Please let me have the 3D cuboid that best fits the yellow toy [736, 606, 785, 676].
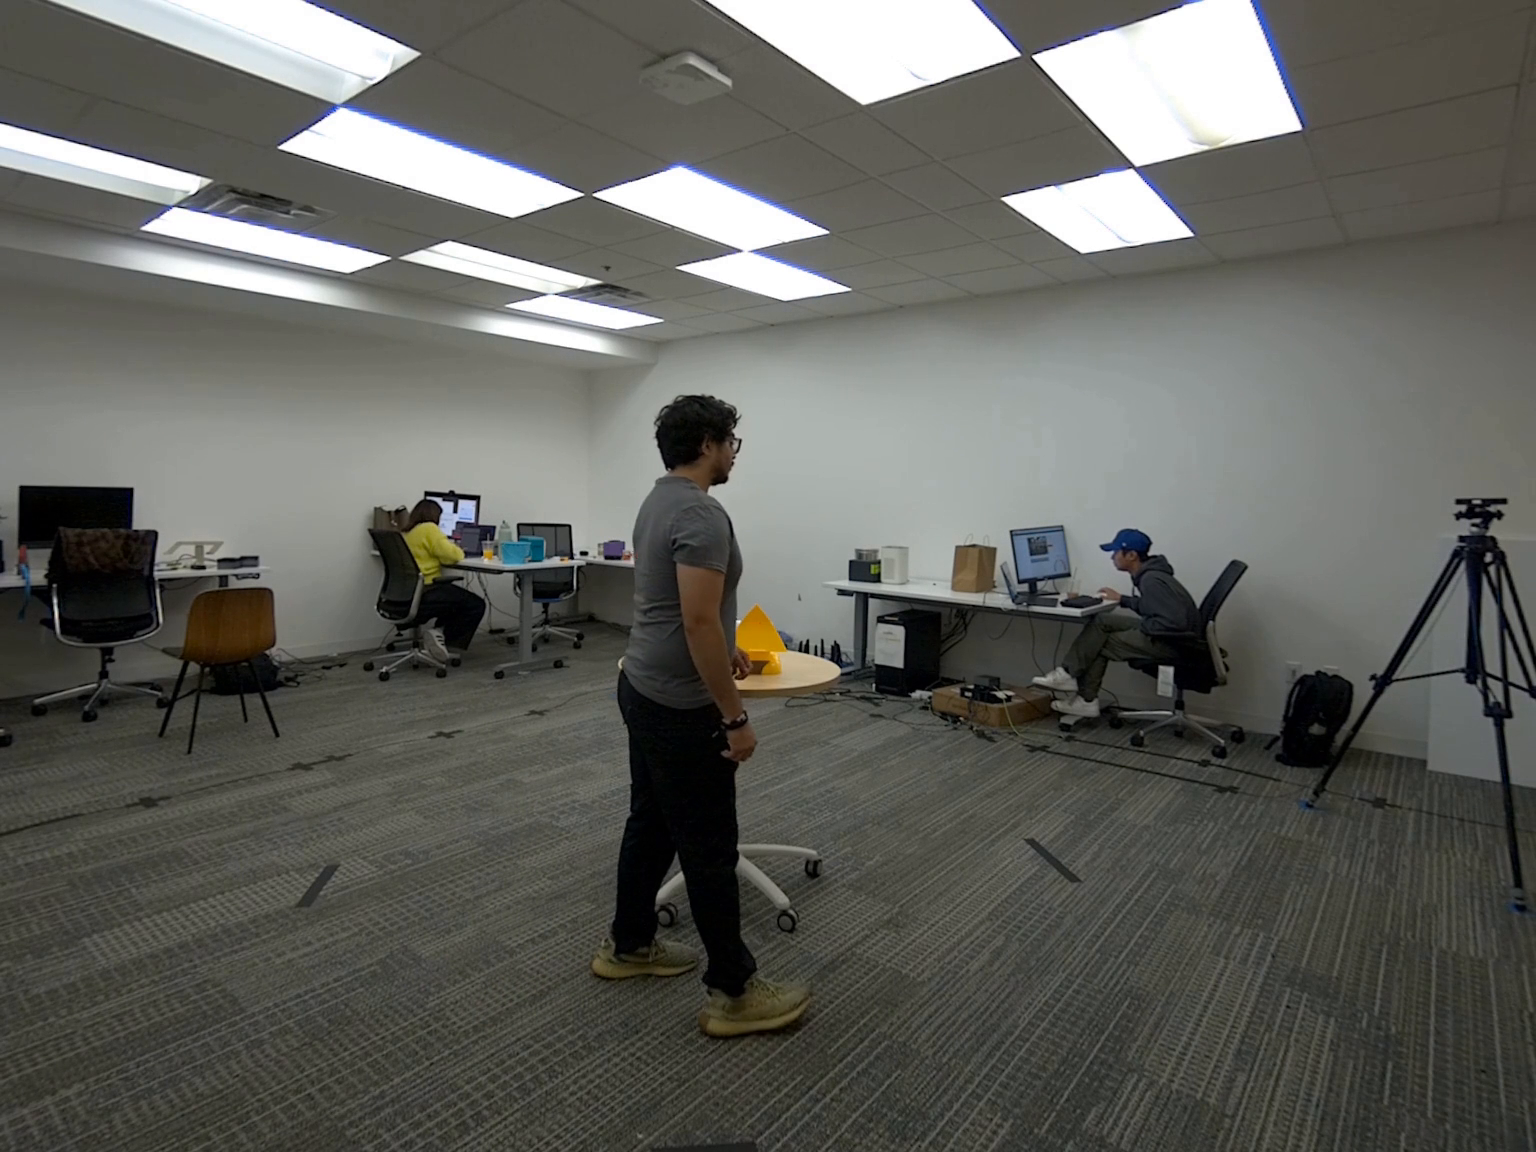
[{"bbox_3d":[-0.062,0.200,2.855,0.203,0.230,0.195,0,4,-9],"label":"yellow toy"}]
